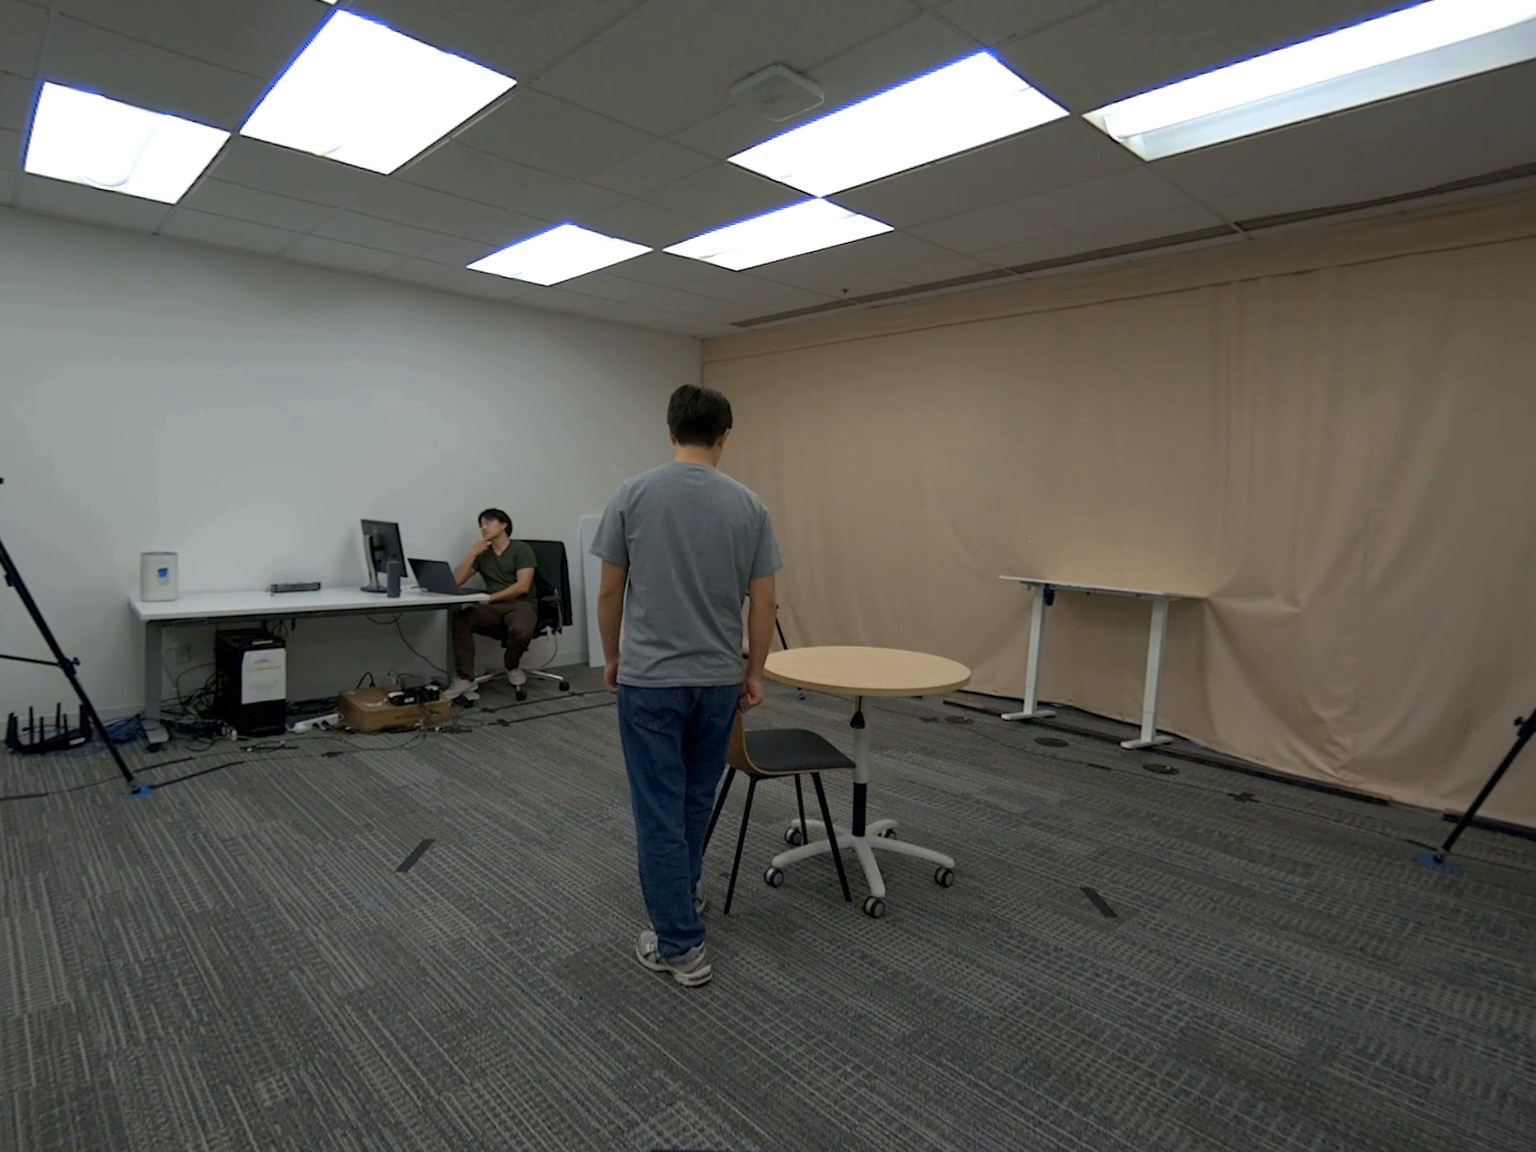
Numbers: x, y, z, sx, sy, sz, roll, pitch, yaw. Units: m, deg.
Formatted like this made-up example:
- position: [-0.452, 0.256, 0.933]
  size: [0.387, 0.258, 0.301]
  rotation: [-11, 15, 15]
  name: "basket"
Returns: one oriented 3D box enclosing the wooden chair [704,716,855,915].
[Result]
- position: [0.017, 0.684, 3.044]
  size: [0.517, 0.874, 0.485]
  rotation: [-4, 4, -16]
  name: "wooden chair"
